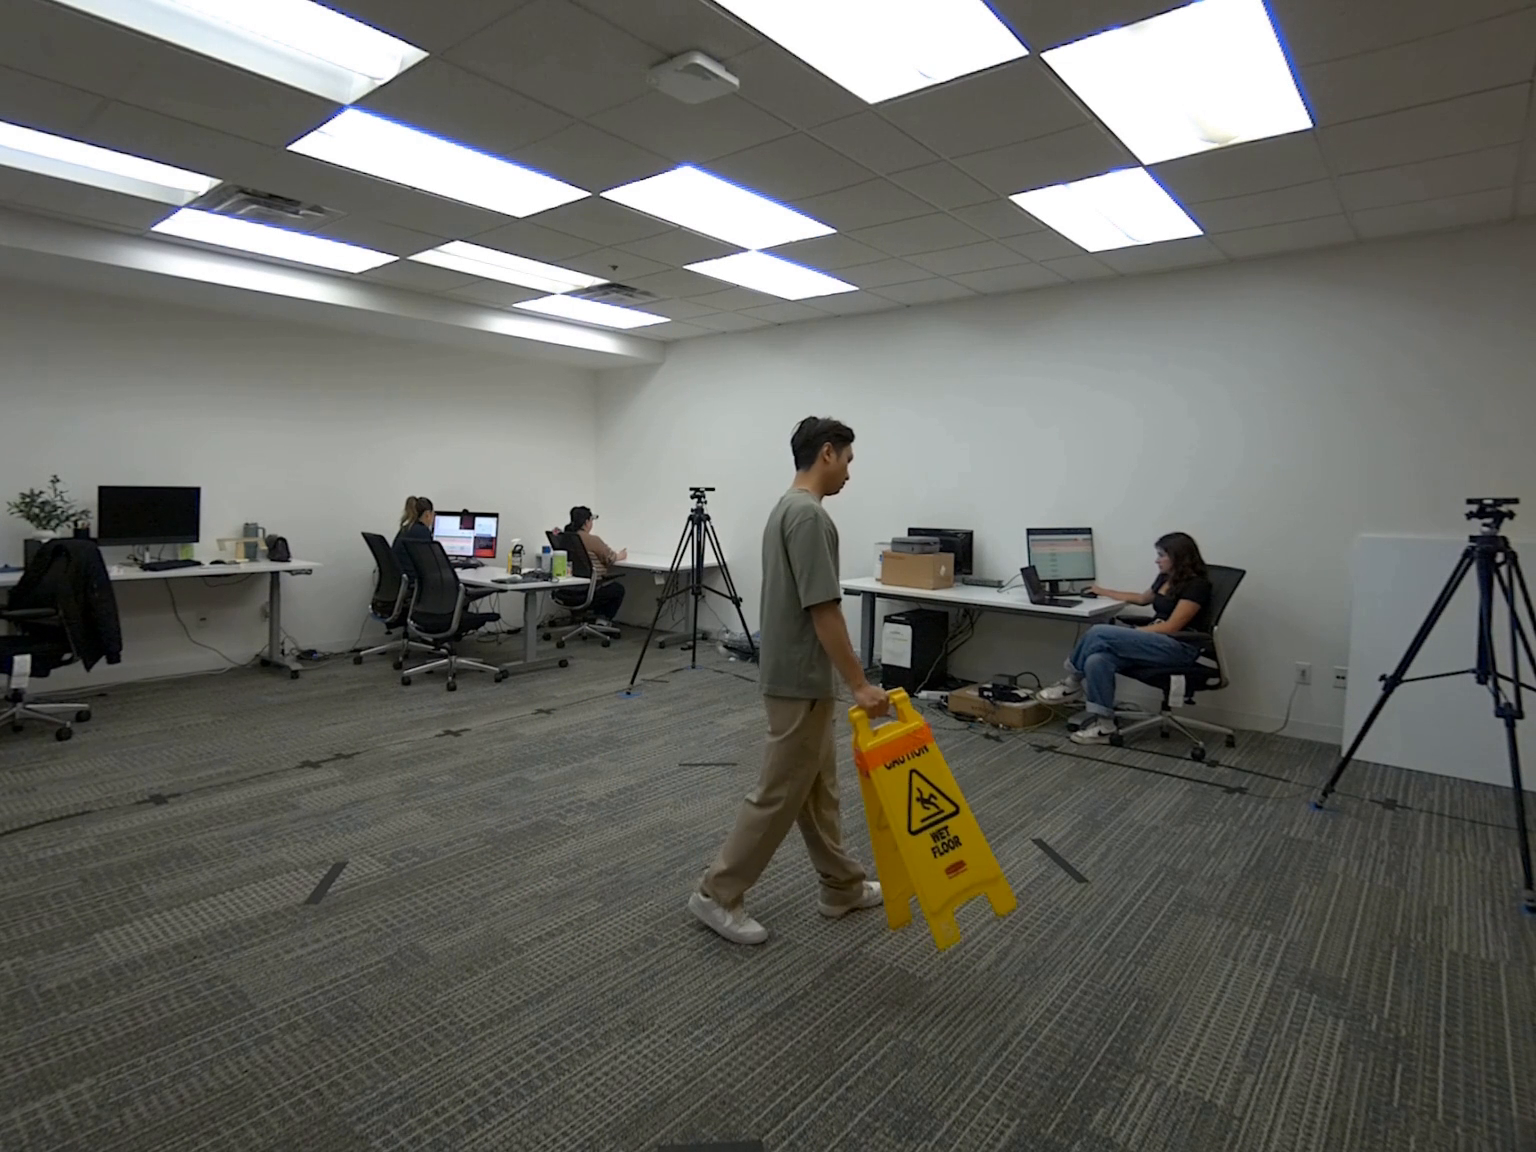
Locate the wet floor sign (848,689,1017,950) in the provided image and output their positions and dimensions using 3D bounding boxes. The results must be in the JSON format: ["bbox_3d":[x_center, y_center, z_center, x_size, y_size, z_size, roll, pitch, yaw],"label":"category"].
[{"bbox_3d":[0.395,0.664,2.425,0.277,0.650,0.293,-16,-5,-25],"label":"wet floor sign"}]
